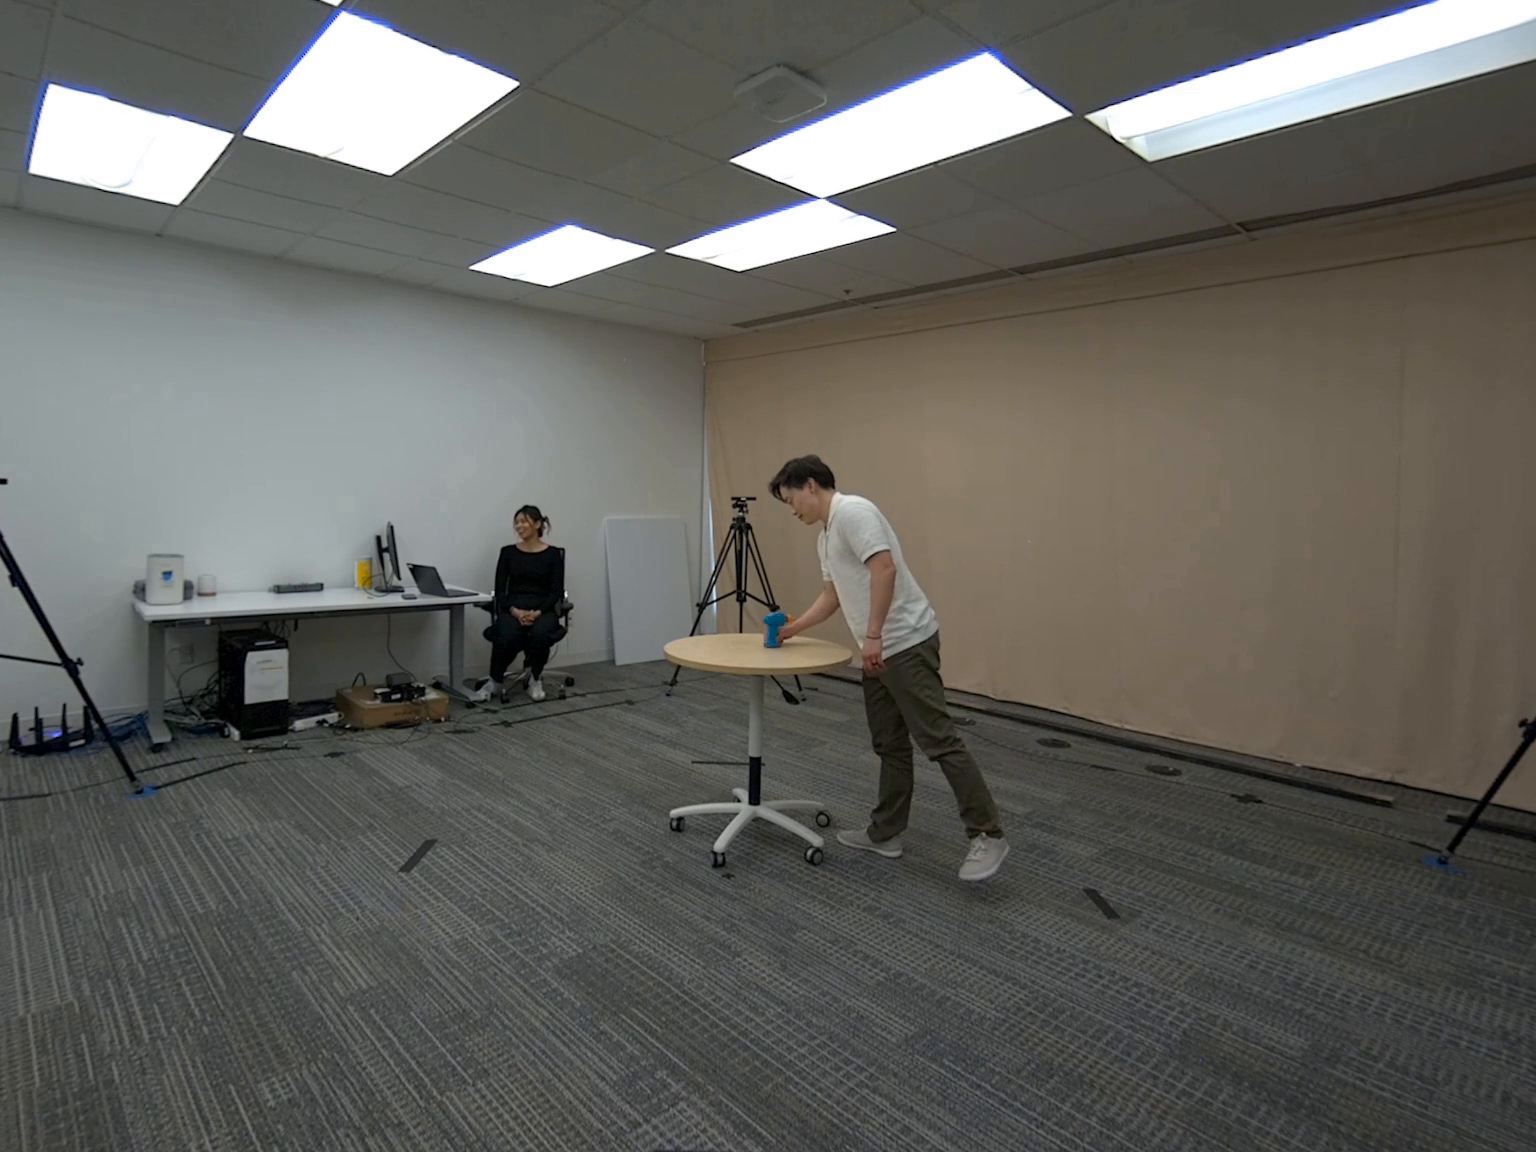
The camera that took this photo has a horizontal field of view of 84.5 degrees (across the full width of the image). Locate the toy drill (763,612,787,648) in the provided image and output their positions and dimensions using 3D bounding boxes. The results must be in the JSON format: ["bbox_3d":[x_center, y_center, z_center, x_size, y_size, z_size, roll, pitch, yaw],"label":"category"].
[{"bbox_3d":[0.050,0.220,3.493,0.166,0.145,0.062,-2,5,-30],"label":"toy drill"}]
